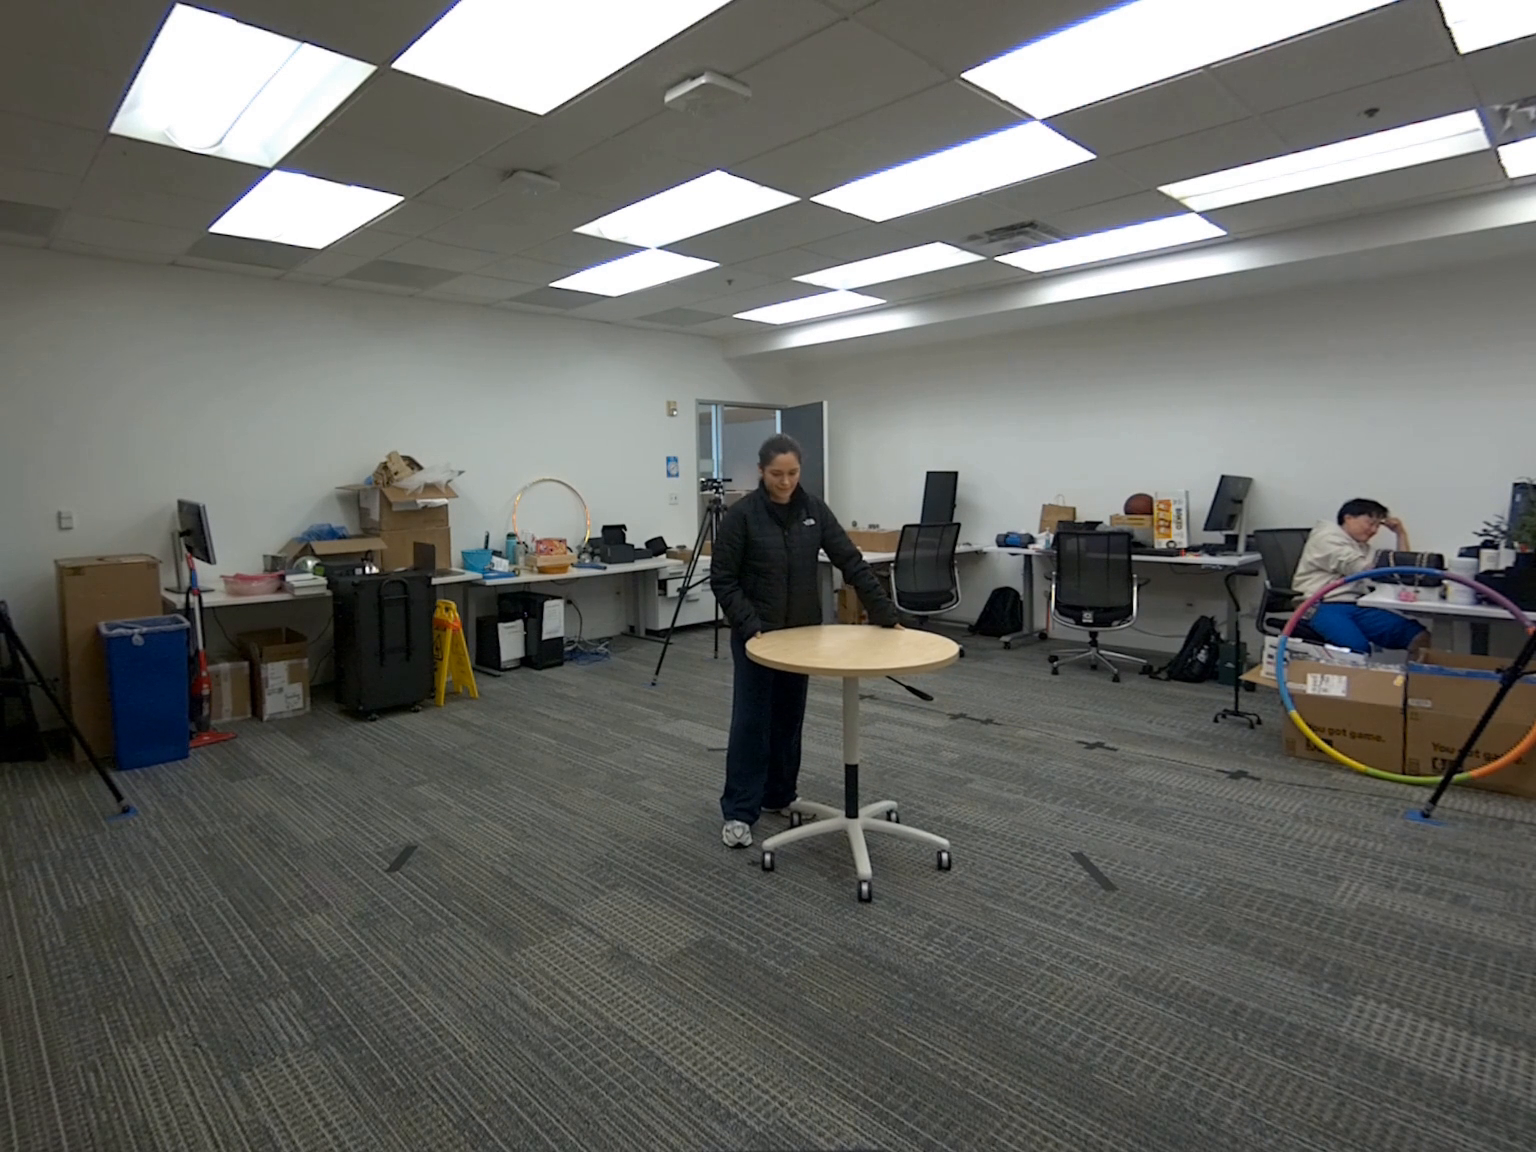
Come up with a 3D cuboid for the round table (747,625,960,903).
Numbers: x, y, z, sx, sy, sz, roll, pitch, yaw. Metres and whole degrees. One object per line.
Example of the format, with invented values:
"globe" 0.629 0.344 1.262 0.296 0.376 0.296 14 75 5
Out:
"round table" 0.302 0.637 3.165 0.784 0.783 0.790 -1 6 -2
